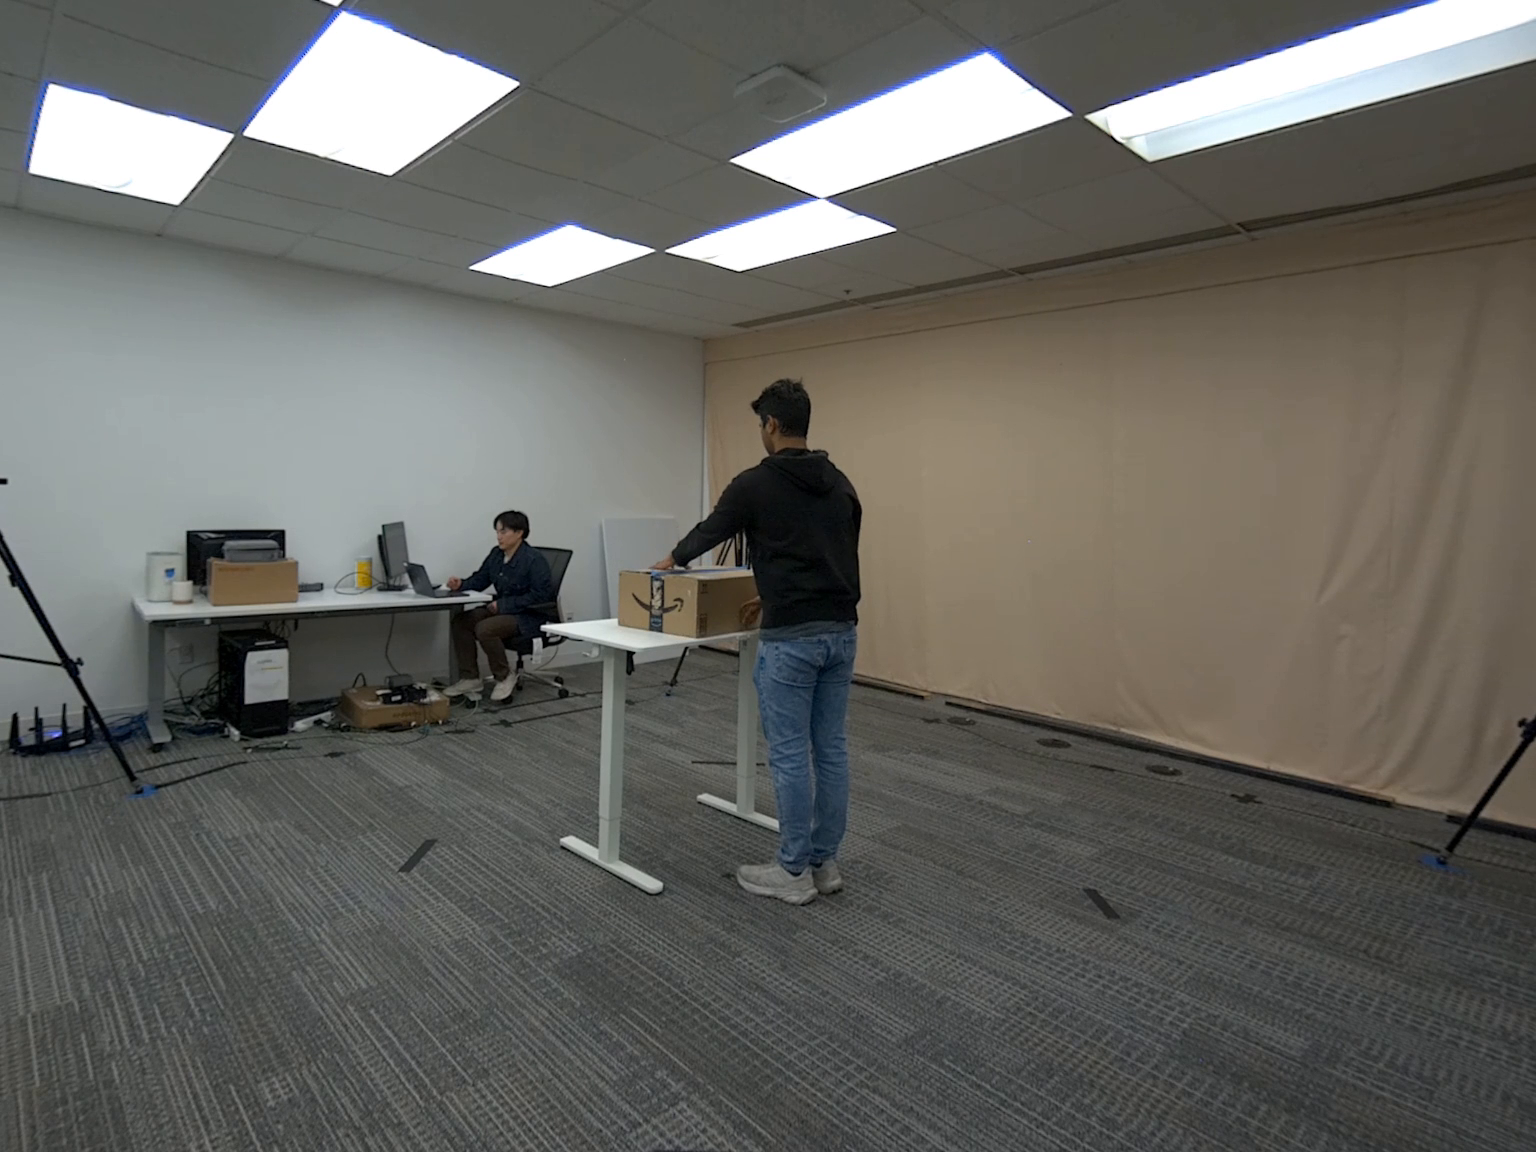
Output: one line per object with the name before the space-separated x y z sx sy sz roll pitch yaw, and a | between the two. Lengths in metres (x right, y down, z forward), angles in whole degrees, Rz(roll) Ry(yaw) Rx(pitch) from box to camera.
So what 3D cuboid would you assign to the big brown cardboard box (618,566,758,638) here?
big brown cardboard box | -0.256 0.082 3.378 0.428 0.233 0.576 4 4 37
